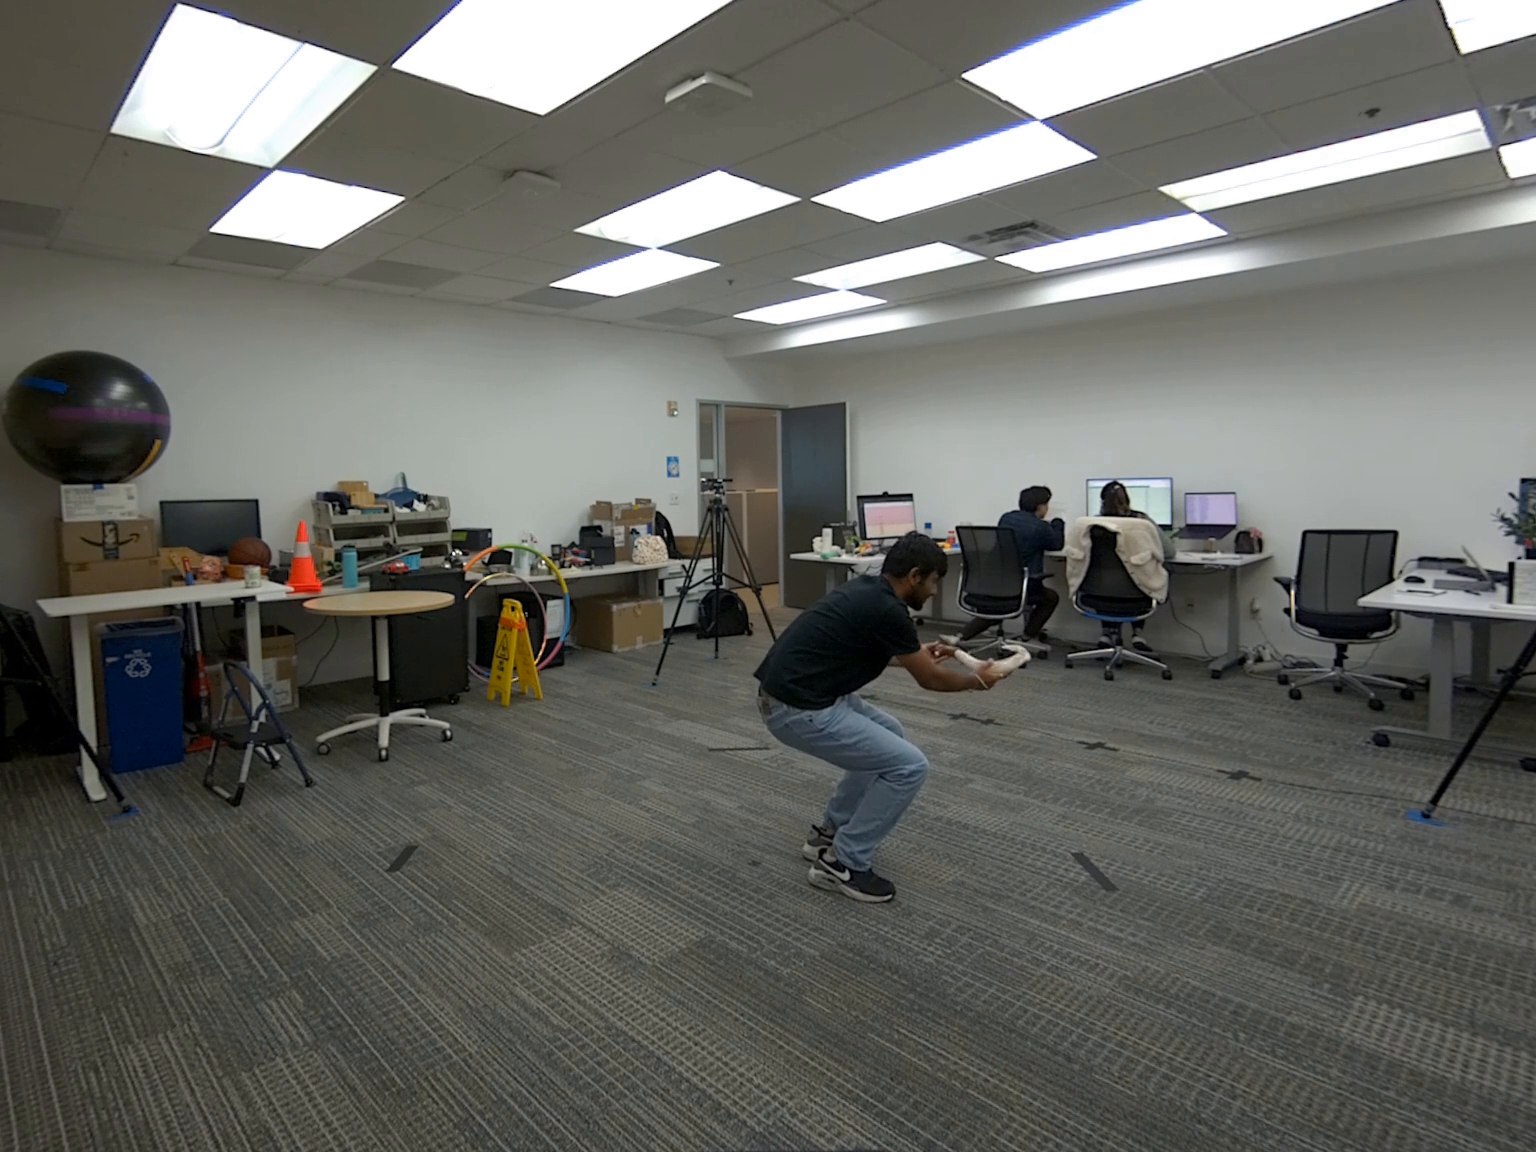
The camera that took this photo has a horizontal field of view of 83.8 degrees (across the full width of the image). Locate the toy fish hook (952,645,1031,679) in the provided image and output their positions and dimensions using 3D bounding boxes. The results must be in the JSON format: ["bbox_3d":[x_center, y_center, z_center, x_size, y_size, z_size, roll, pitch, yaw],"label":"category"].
[{"bbox_3d":[0.813,0.310,3.357,0.222,0.048,0.518,-17,12,-18],"label":"toy fish hook"}]
